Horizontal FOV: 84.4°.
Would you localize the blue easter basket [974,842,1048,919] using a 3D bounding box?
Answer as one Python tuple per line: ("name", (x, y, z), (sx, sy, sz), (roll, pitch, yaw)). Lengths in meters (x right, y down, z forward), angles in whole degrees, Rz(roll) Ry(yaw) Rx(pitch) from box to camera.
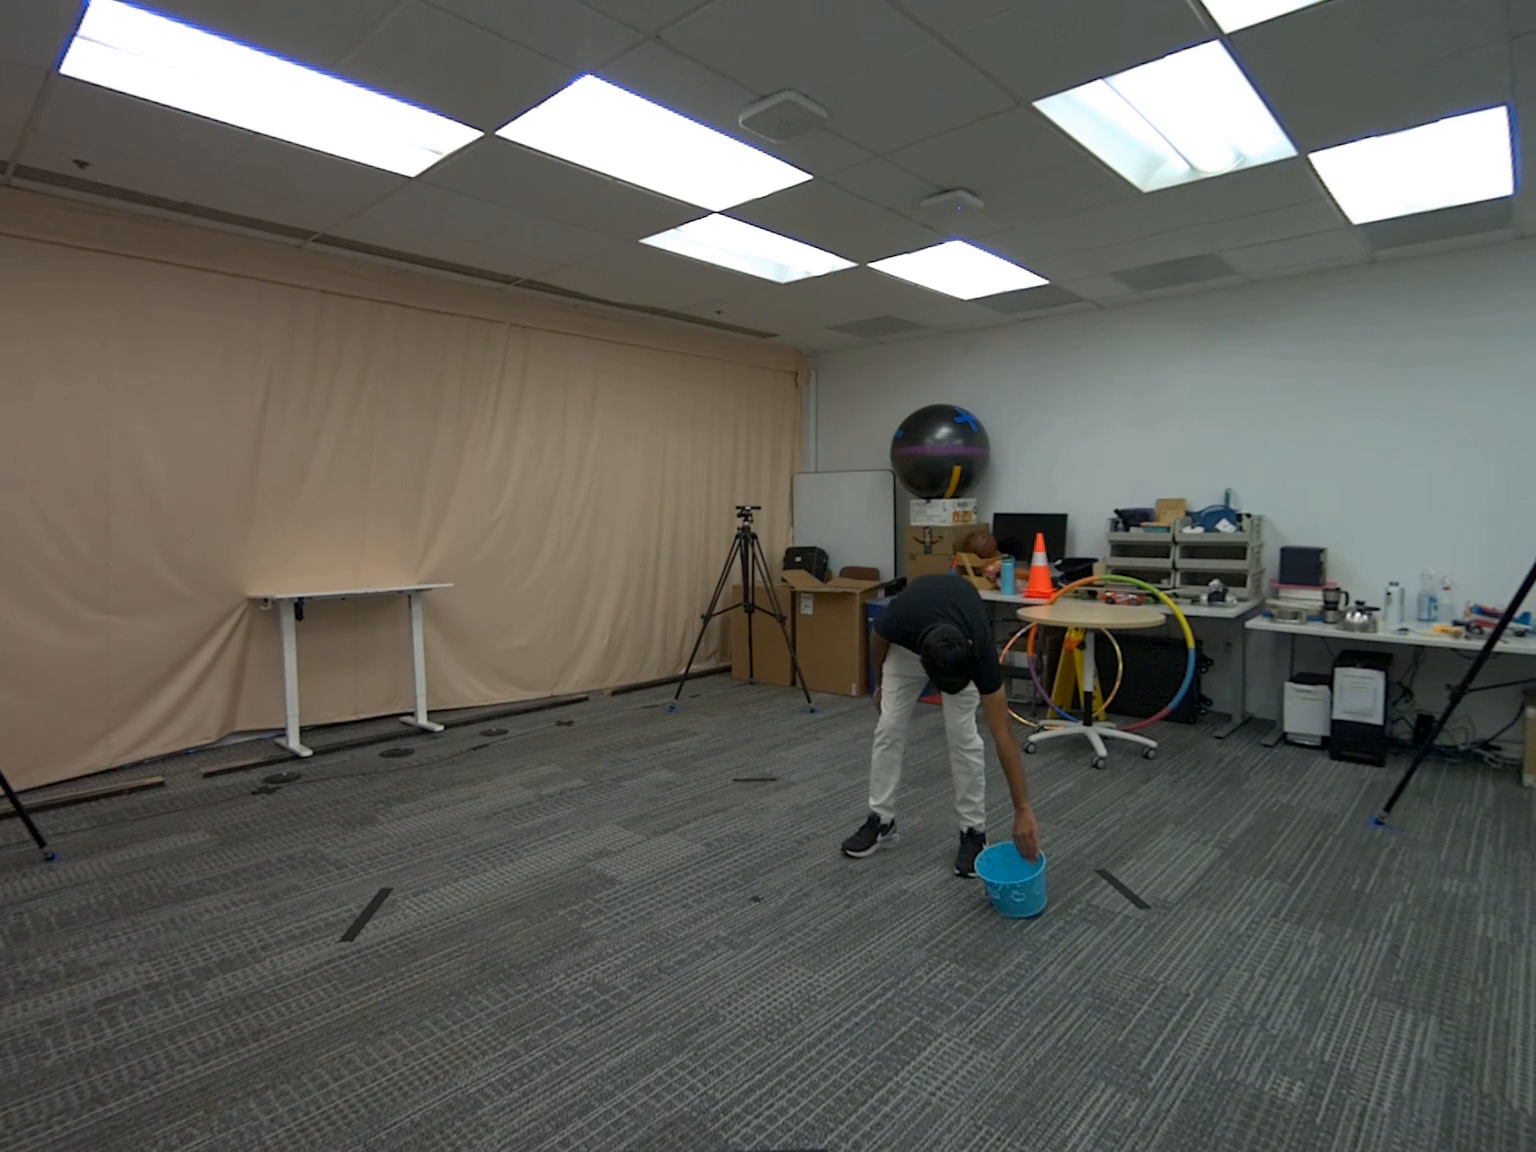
("blue easter basket", (0.846, 1.049, 2.900), (0.244, 0.154, 0.246), (-15, 13, 2))
